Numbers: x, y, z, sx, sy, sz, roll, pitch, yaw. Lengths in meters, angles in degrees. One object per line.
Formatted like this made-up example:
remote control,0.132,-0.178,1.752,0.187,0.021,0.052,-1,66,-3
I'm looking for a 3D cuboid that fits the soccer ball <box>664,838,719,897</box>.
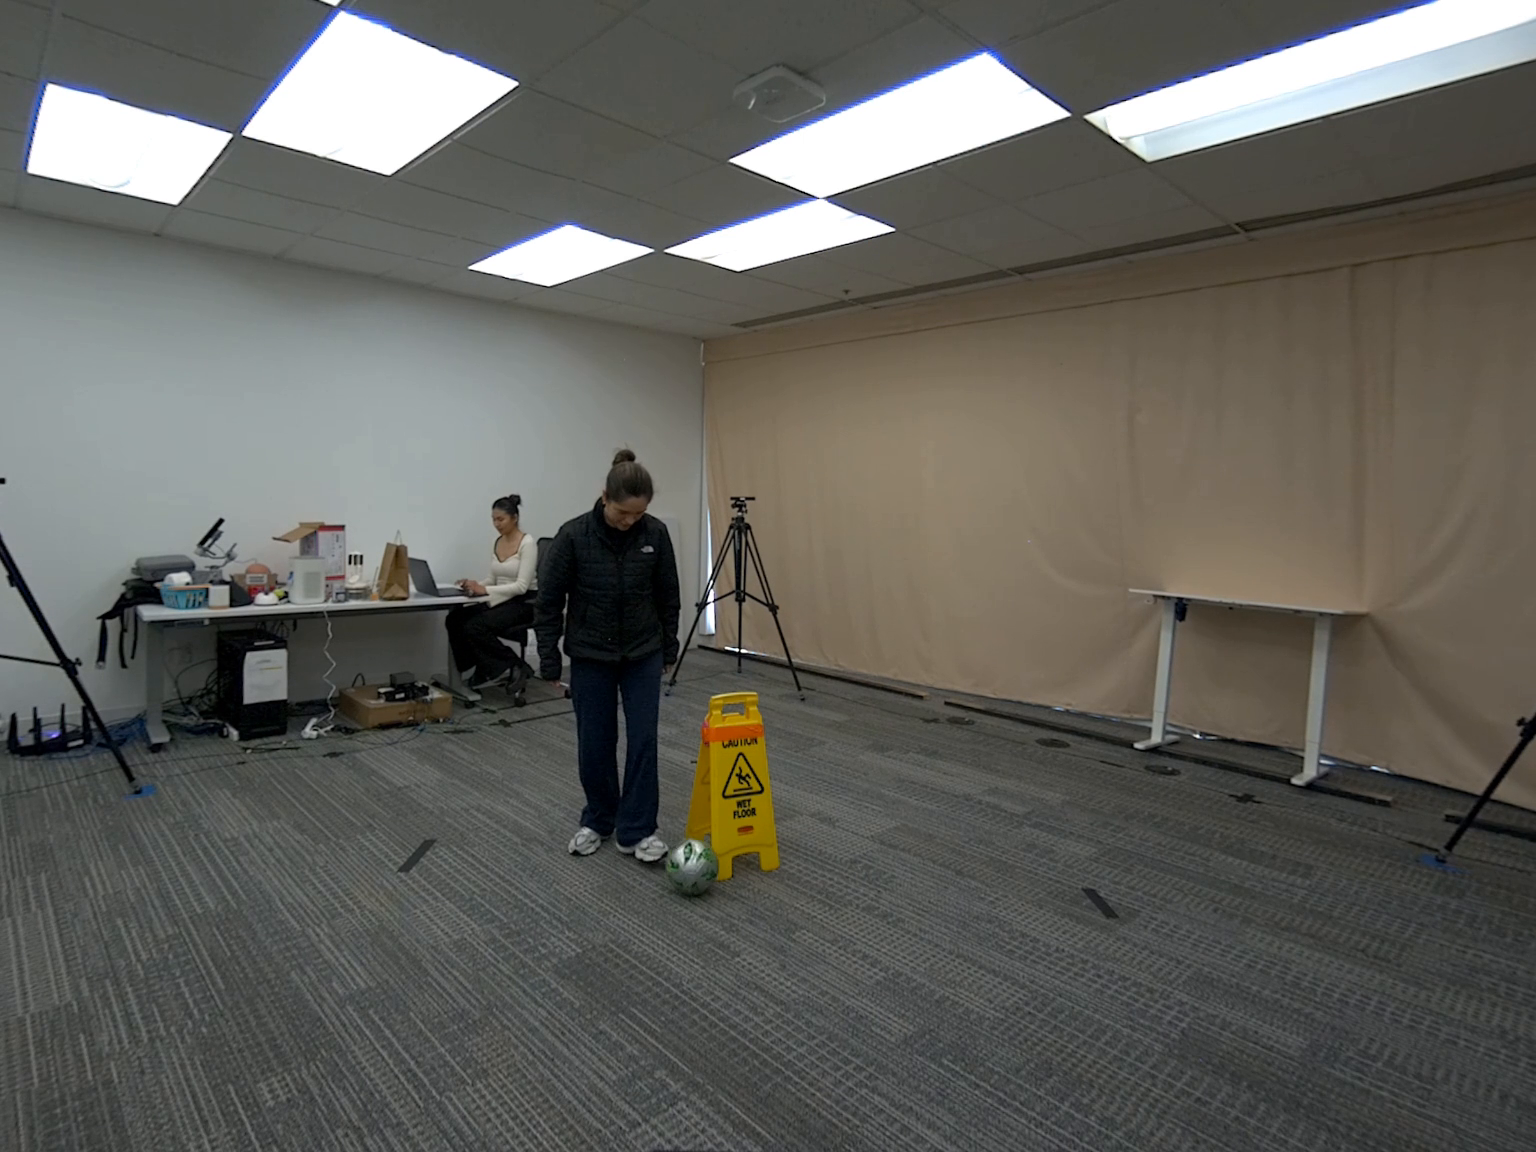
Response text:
soccer ball,-0.279,1.022,2.961,0.187,0.187,0.188,1,4,-1
